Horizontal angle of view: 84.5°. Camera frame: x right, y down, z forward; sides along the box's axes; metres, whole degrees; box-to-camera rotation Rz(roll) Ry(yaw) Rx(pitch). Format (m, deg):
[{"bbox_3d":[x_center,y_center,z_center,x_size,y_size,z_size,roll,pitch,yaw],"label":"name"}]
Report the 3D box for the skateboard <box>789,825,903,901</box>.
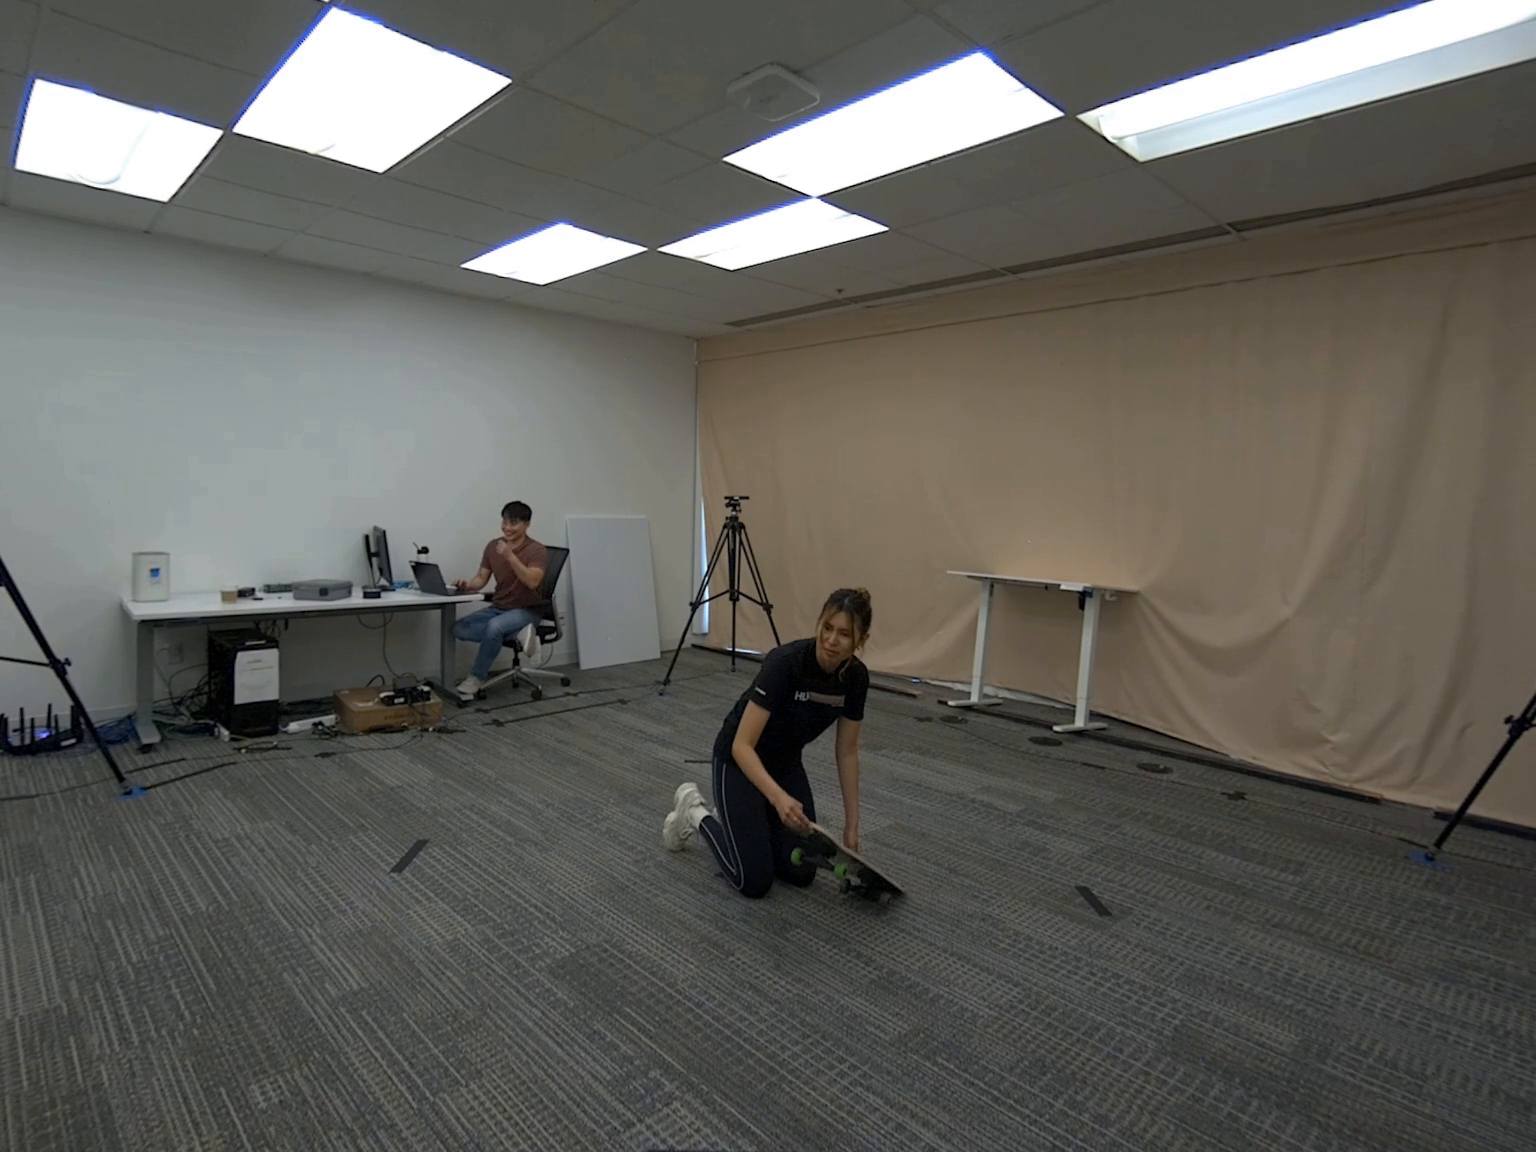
[{"bbox_3d":[0.254,0.962,2.764,0.198,0.111,0.760,6,-27,34],"label":"skateboard"}]
